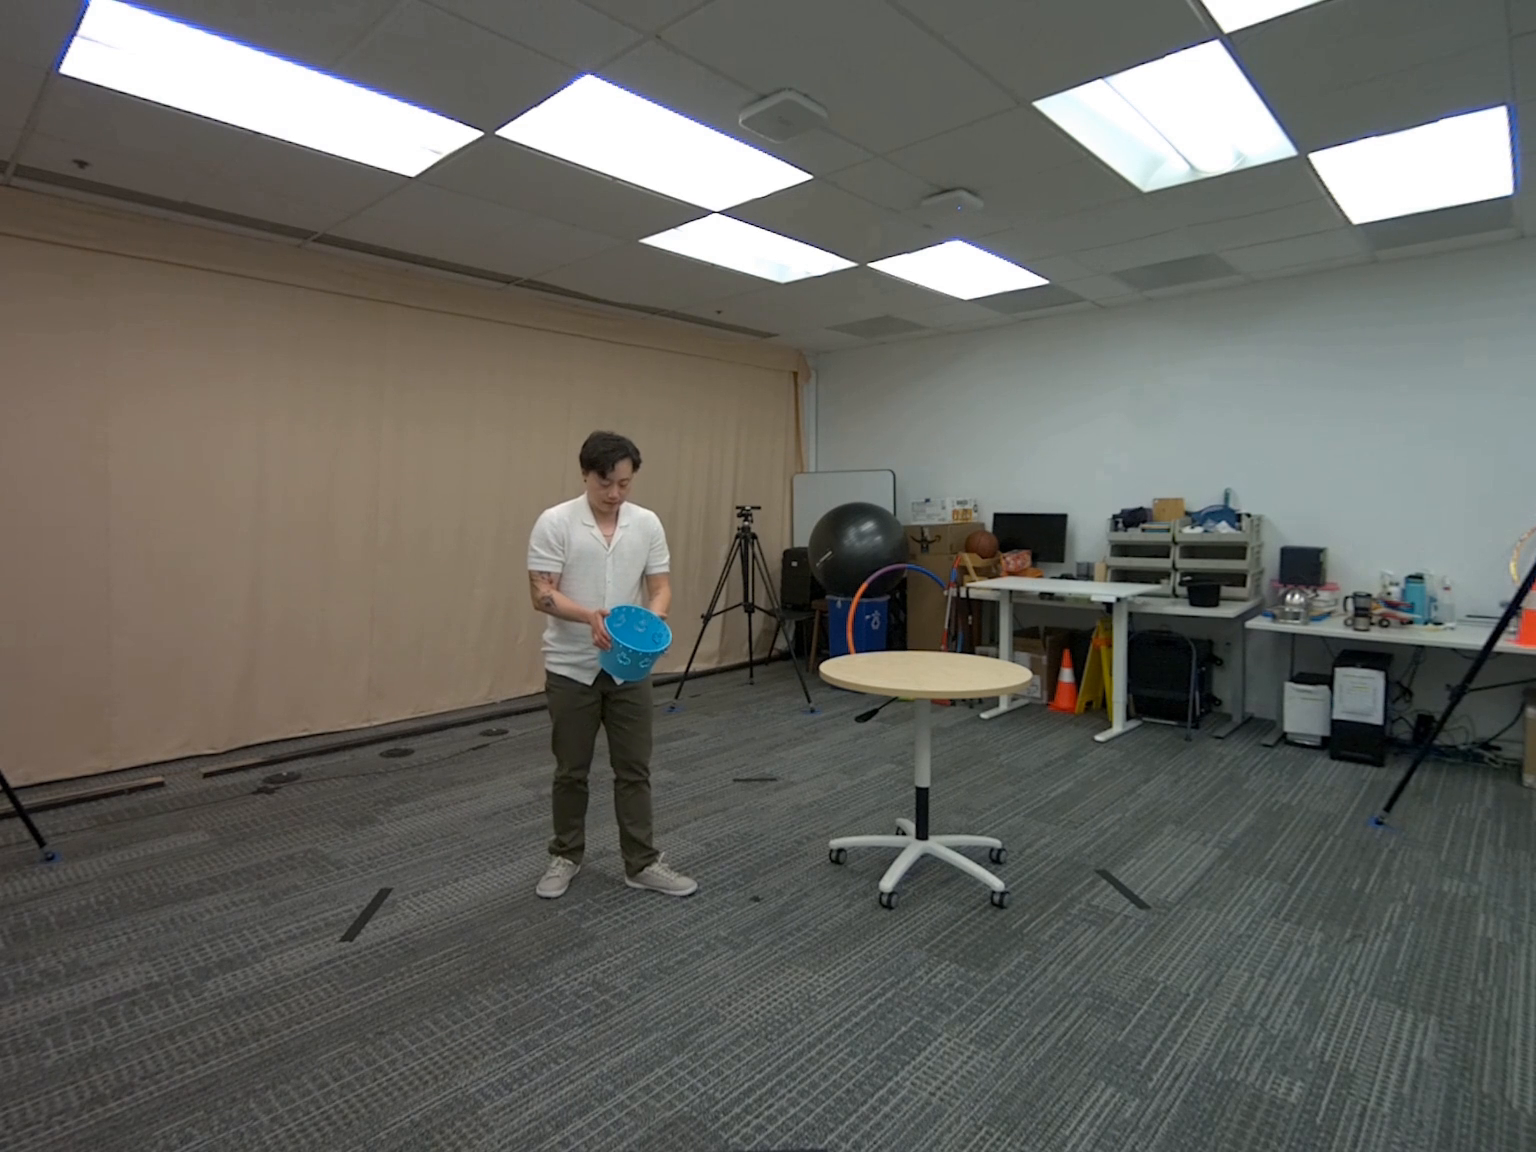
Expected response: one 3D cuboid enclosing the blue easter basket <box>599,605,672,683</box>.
[{"bbox_3d":[-0.441,0.226,2.773,0.240,0.155,0.248,18,28,-12],"label":"blue easter basket"}]
